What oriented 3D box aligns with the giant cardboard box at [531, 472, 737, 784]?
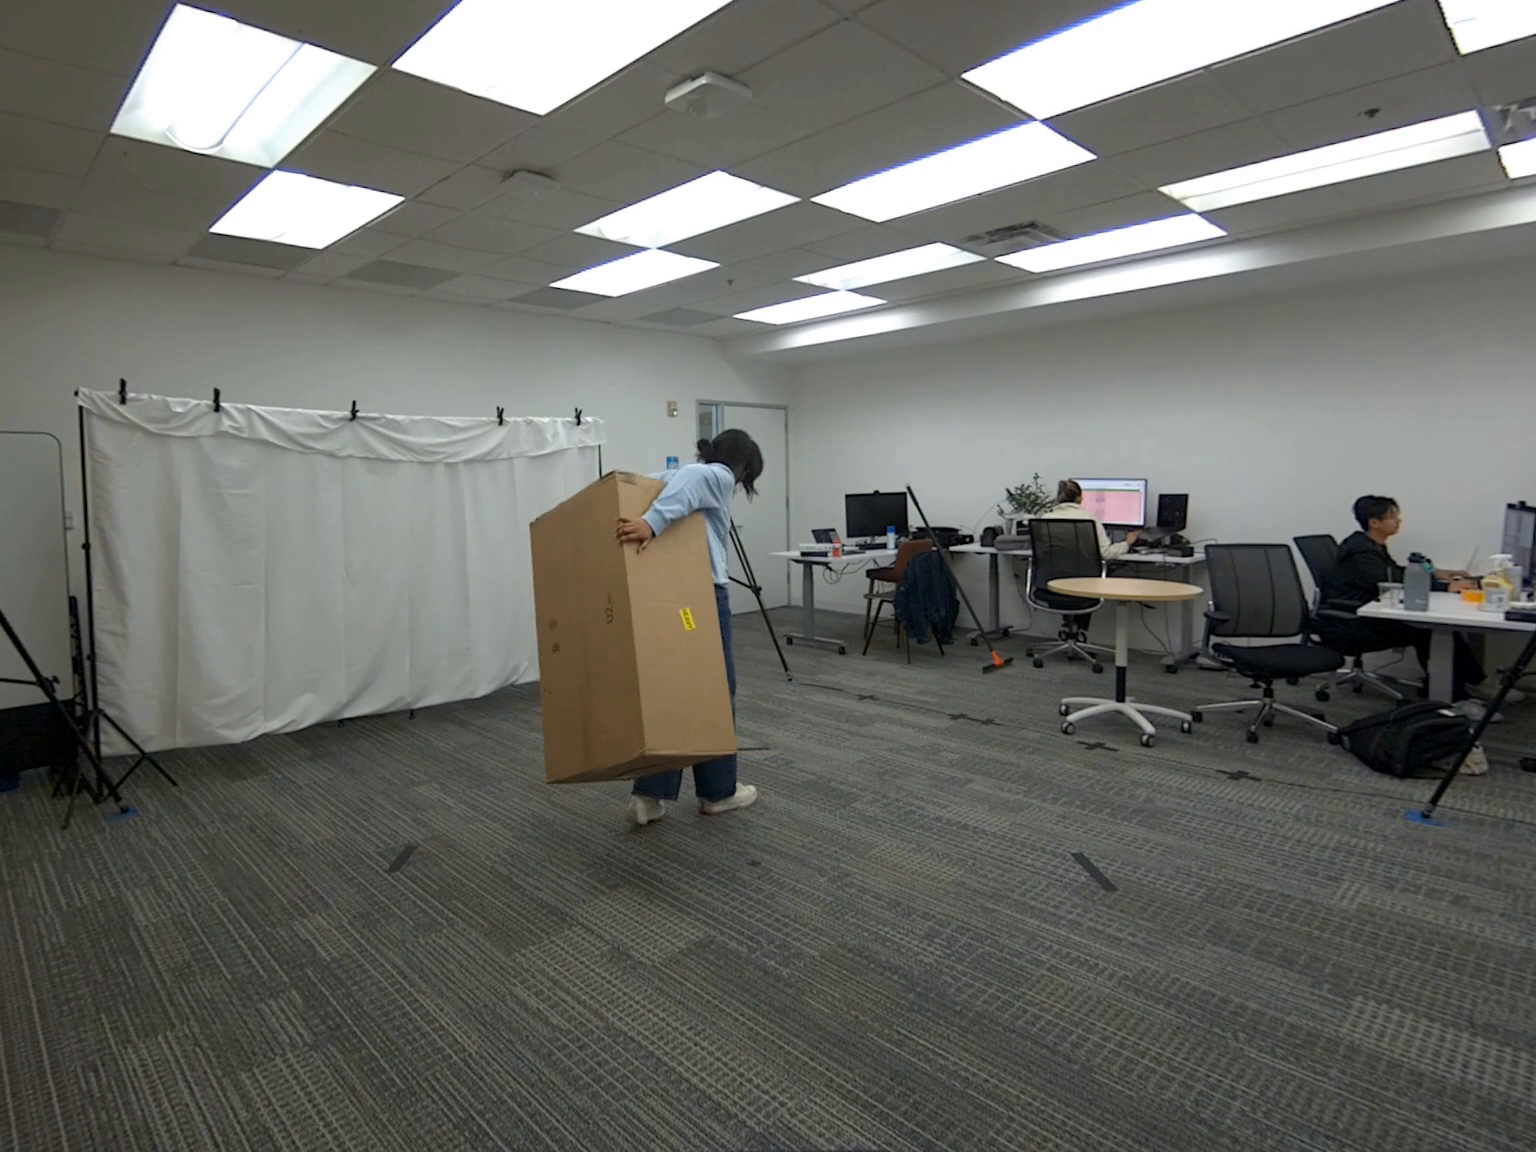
[{"bbox_3d":[-0.530,0.211,3.217,0.585,1.047,0.412,-26,-25,38],"label":"giant cardboard box"}]
